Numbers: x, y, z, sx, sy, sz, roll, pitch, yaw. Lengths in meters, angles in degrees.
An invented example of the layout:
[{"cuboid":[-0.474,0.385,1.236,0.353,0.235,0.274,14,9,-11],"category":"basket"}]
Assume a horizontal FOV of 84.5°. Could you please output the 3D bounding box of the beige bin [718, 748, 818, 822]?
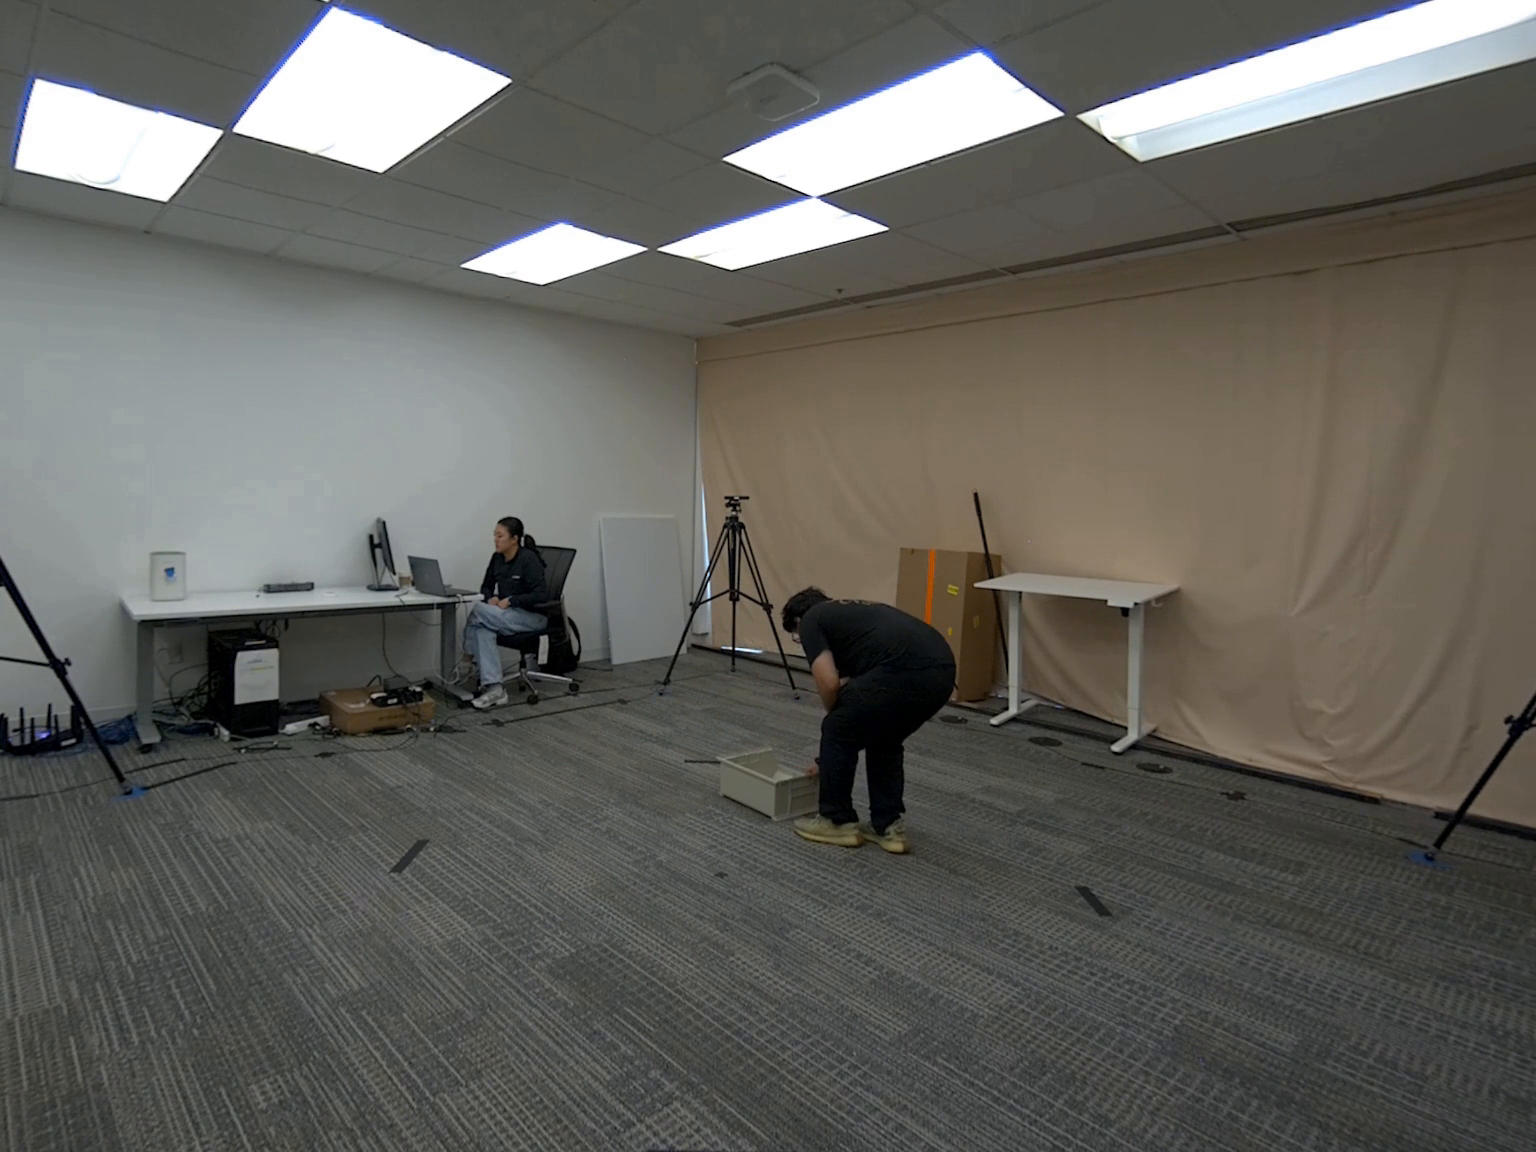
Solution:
[{"cuboid":[0.031,0.948,3.898,0.369,0.188,0.433,-4,8,-39],"category":"beige bin"}]
